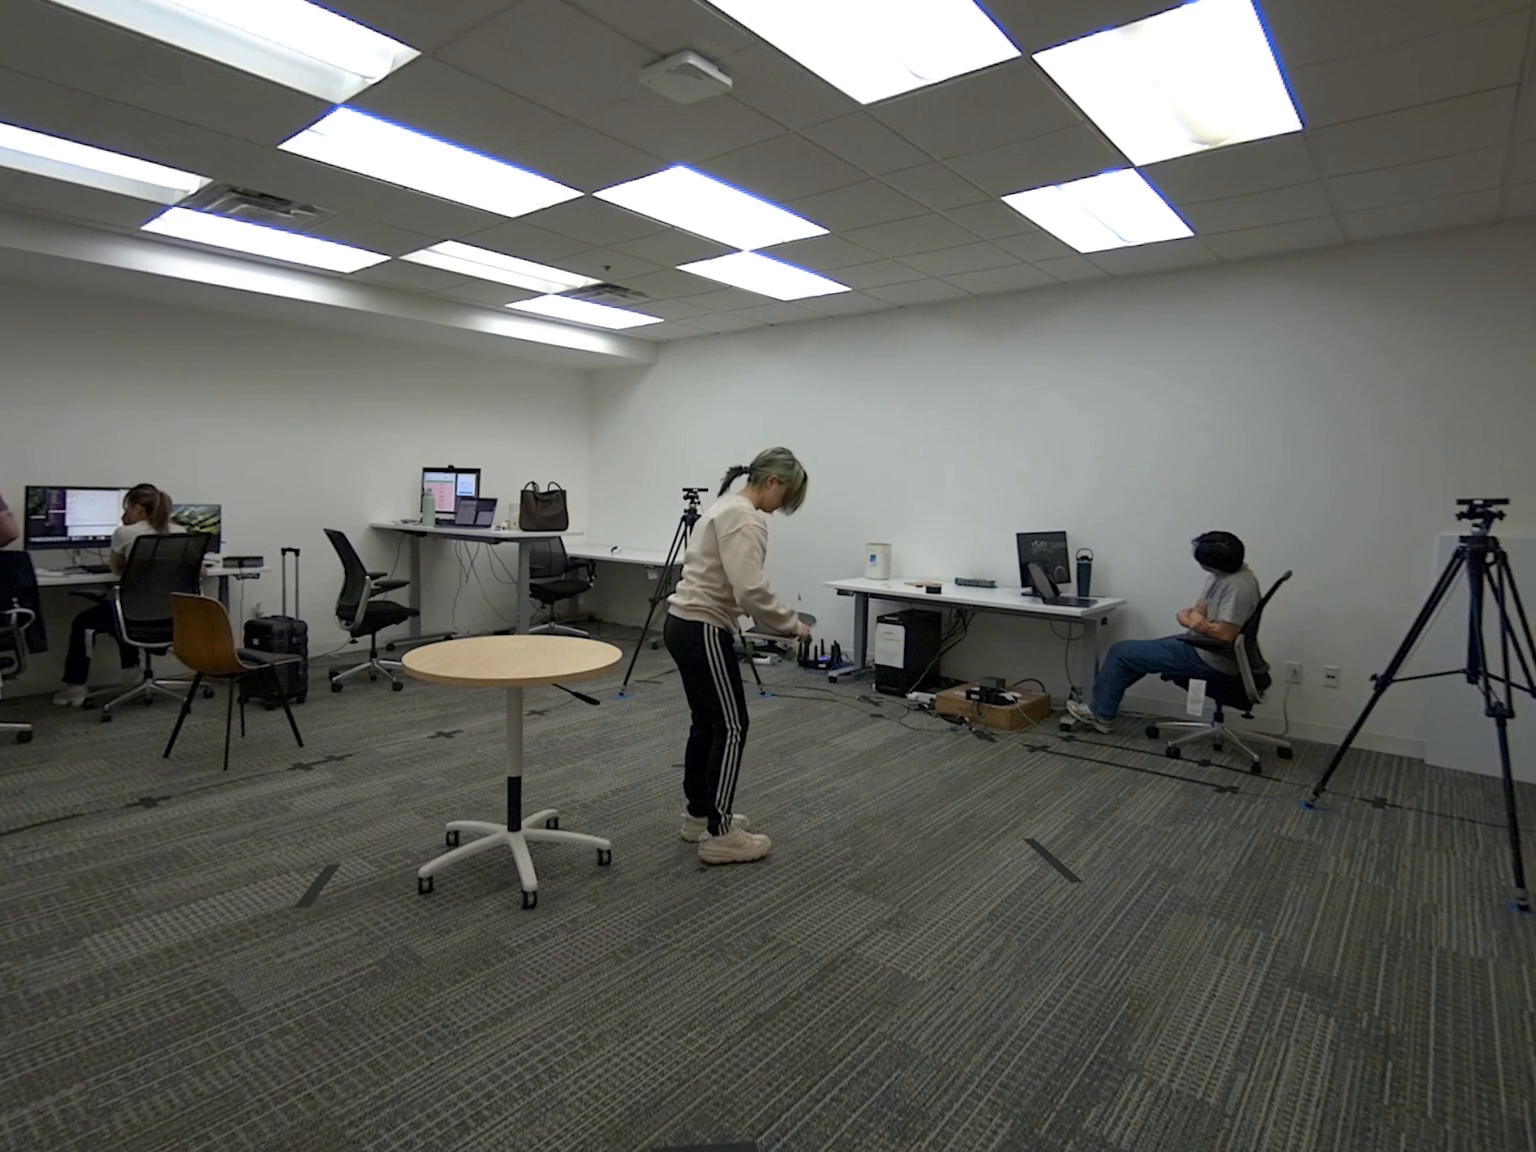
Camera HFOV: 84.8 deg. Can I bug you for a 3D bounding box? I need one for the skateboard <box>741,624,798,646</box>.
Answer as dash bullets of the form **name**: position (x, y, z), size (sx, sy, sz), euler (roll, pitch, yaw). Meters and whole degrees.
- **skateboard**: position (0.047, 0.232, 3.335), size (0.196, 0.110, 0.776), euler (8, 5, 11)
